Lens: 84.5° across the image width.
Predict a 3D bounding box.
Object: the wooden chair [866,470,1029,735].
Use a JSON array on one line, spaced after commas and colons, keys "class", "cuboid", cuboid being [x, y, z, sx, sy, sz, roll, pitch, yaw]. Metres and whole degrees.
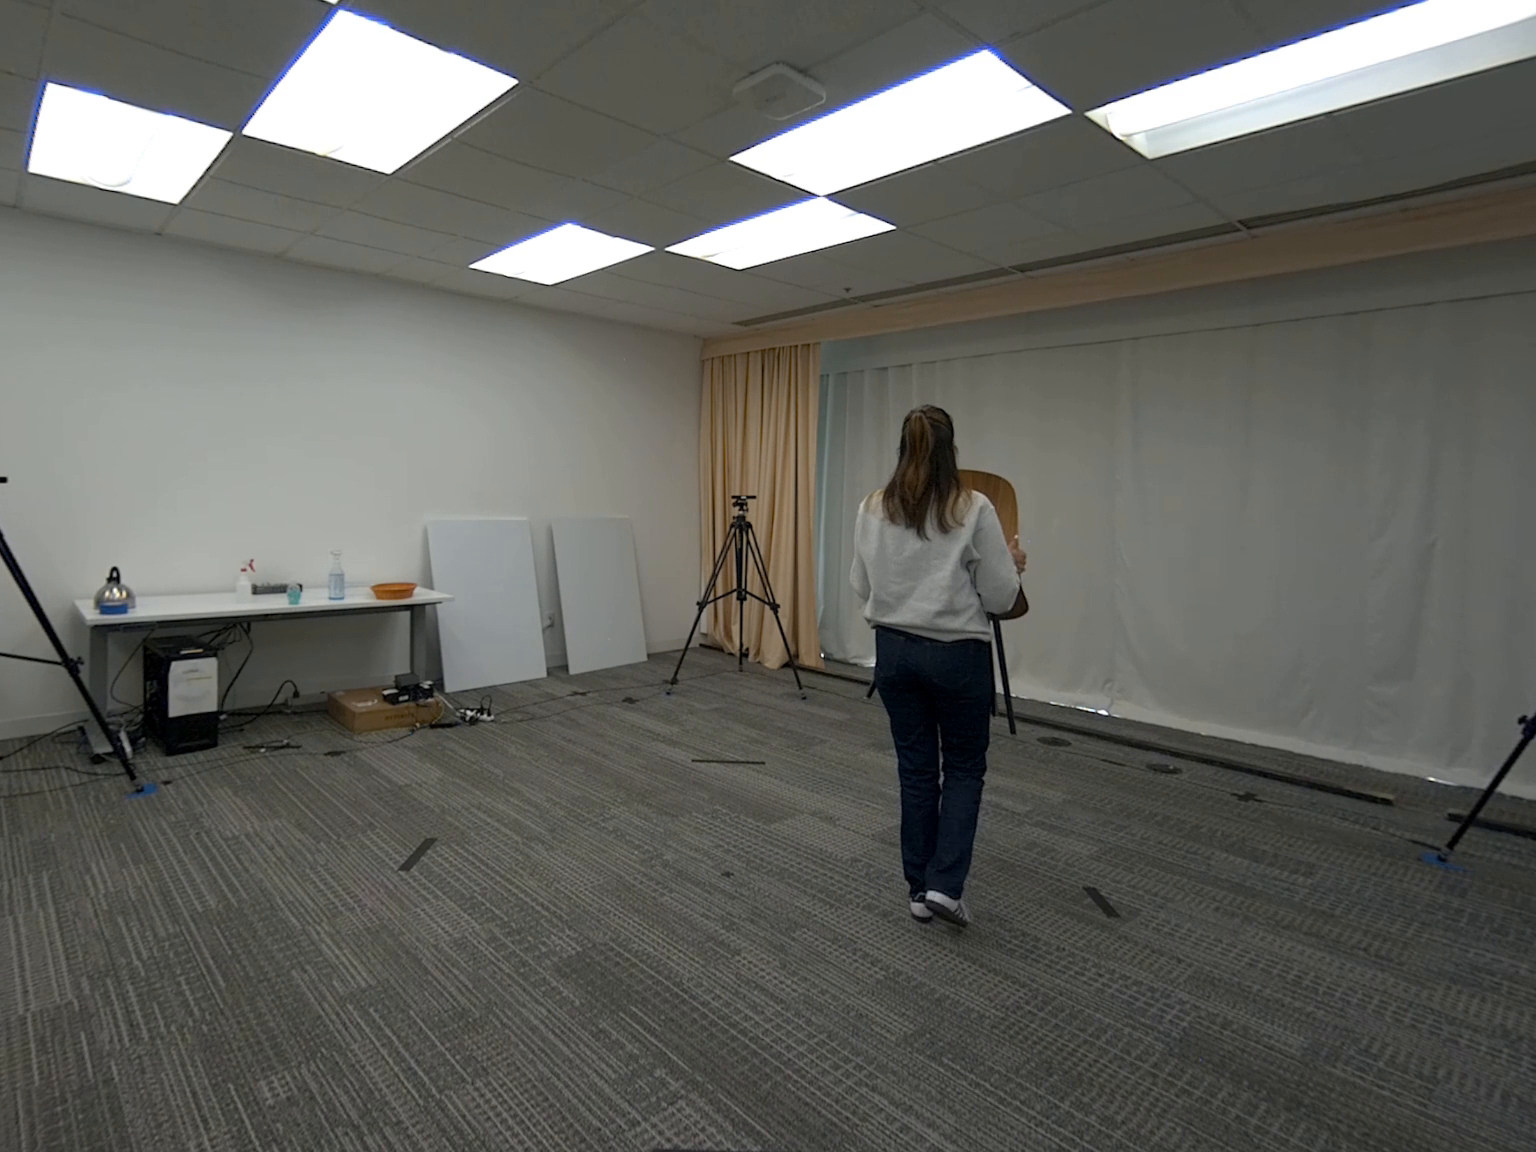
[{"class": "wooden chair", "cuboid": [0.718, 0.107, 3.119, 0.488, 0.883, 0.509, 2, -12, 28]}]
